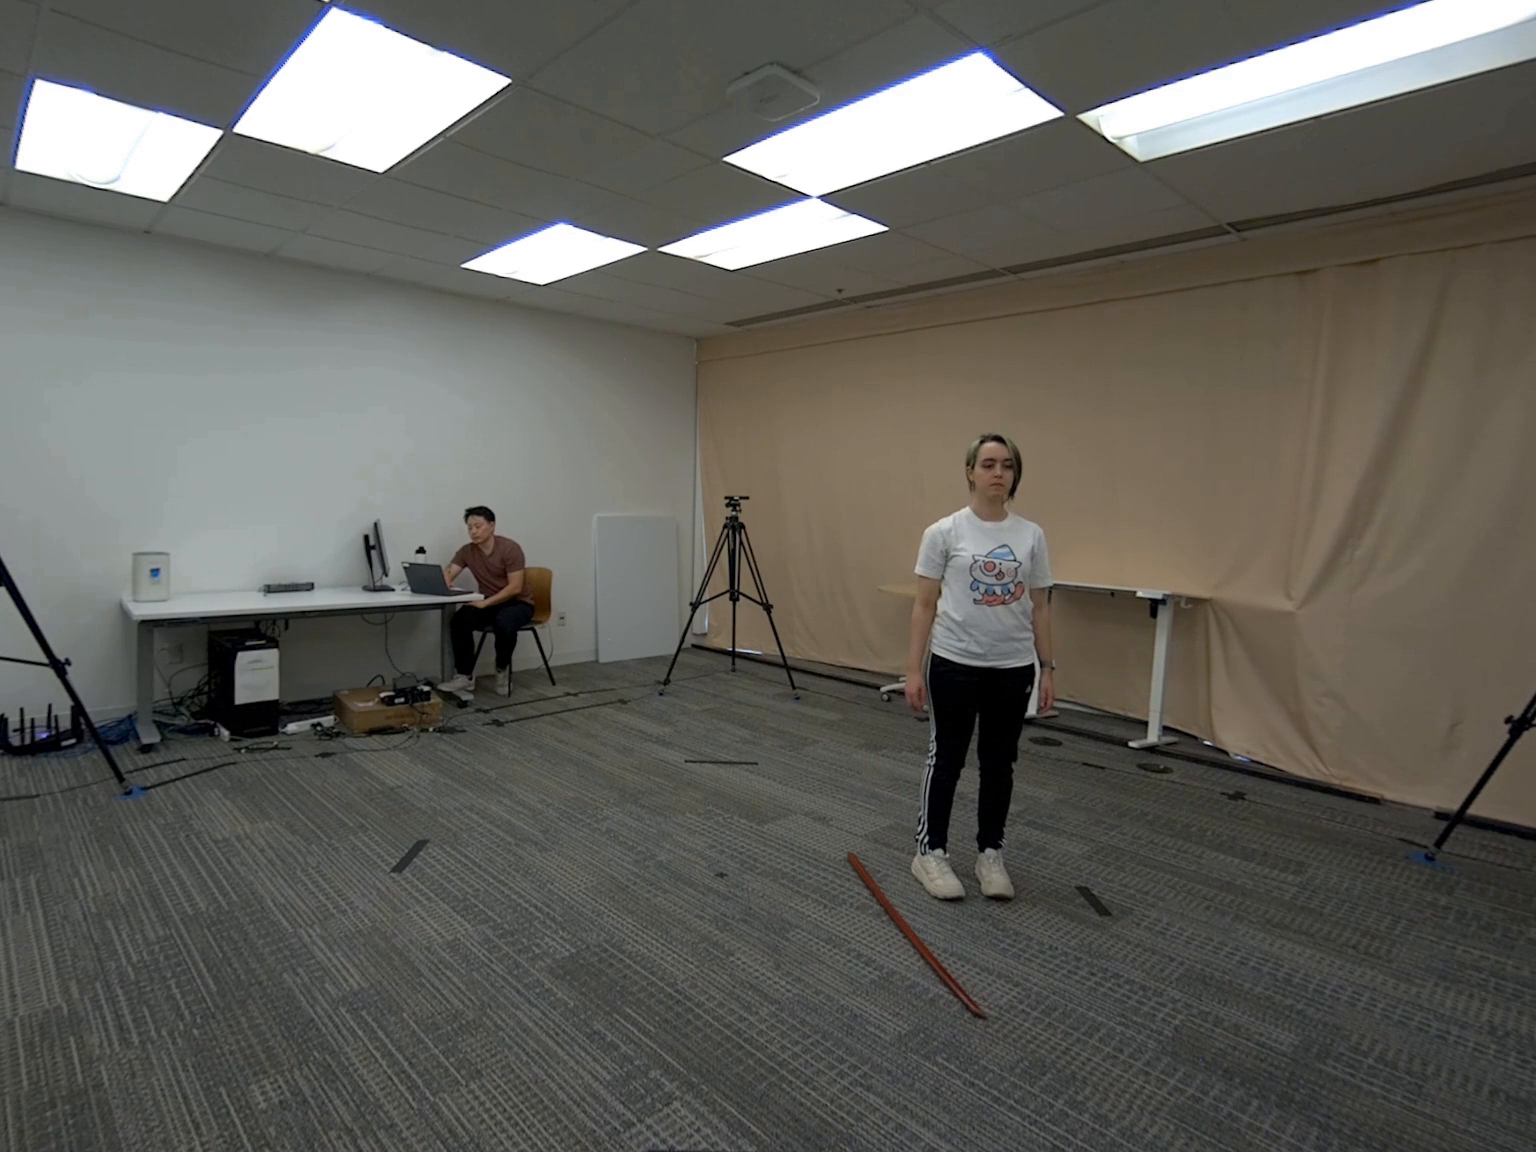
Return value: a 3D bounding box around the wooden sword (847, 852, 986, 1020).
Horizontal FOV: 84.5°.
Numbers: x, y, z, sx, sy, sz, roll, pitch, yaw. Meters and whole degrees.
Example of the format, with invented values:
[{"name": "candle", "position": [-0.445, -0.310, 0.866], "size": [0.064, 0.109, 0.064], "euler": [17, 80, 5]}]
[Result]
[{"name": "wooden sword", "position": [0.432, 1.127, 2.773], "size": [0.051, 0.024, 1.039], "euler": [6, 5, -15]}]
